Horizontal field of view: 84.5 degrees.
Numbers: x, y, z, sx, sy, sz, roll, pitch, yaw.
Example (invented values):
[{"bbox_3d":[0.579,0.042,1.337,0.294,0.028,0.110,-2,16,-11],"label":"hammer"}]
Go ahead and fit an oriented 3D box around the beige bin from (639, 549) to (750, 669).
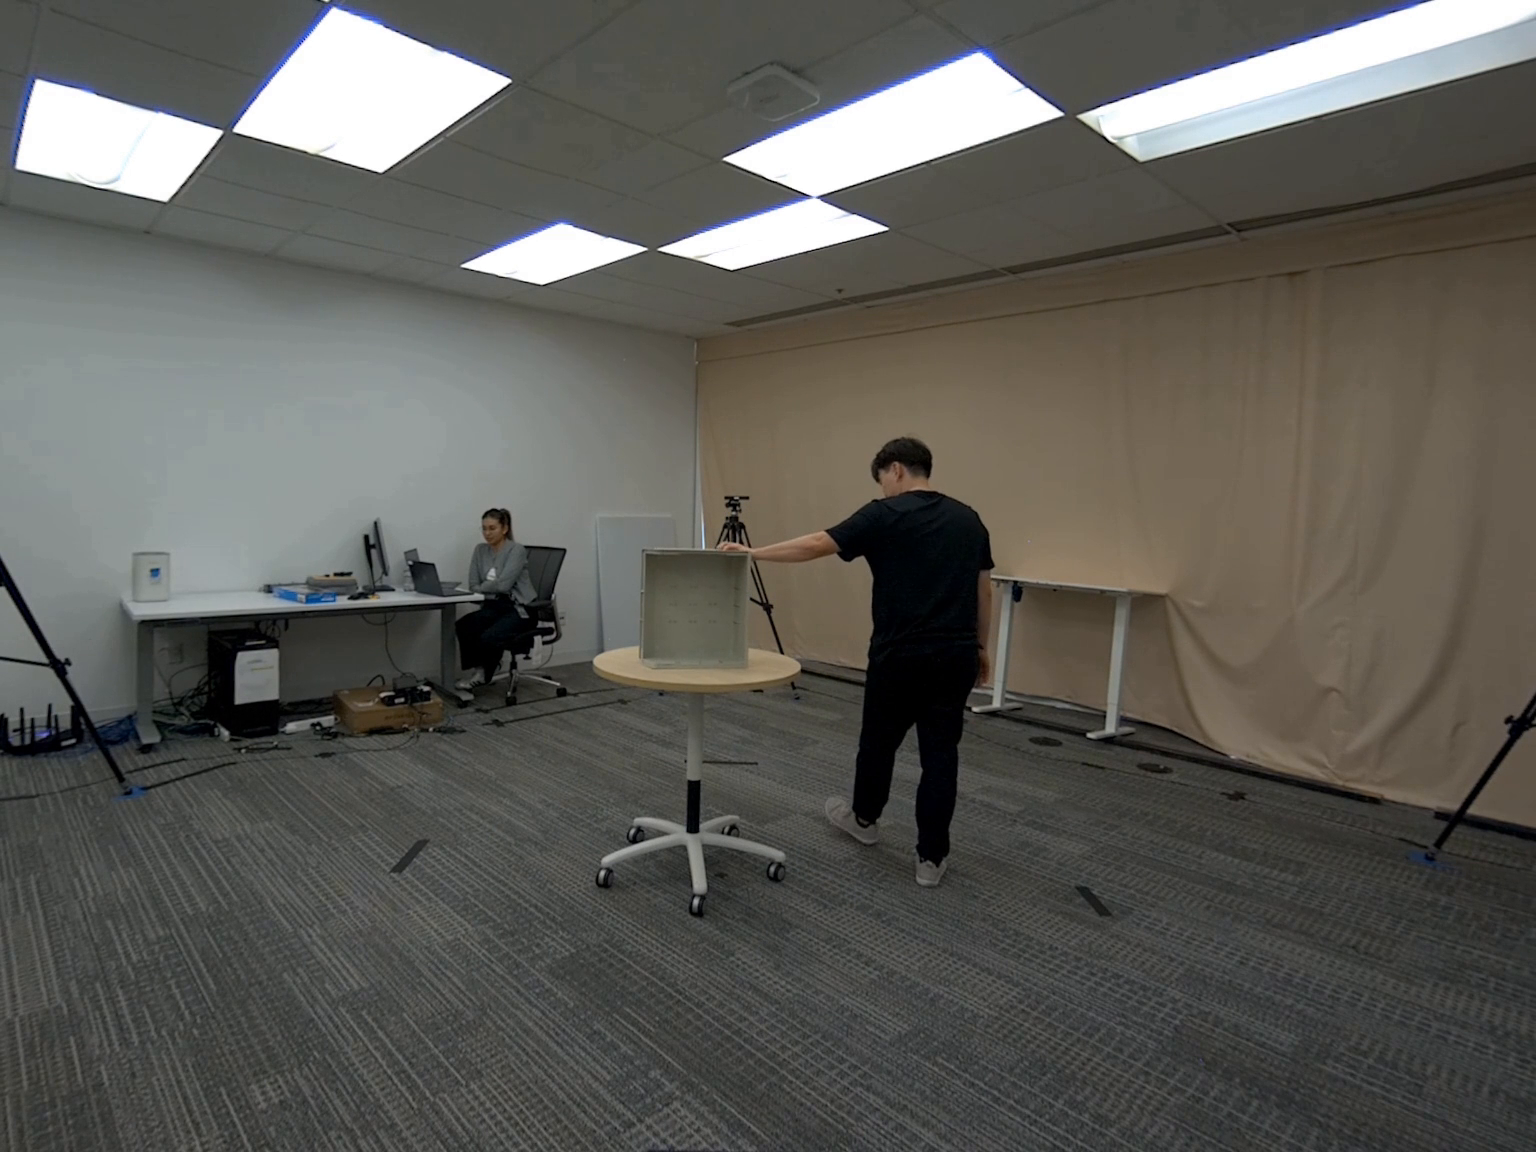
[{"bbox_3d":[-0.292,0.112,3.071,0.373,0.422,0.191,0,0,-16],"label":"beige bin"}]
